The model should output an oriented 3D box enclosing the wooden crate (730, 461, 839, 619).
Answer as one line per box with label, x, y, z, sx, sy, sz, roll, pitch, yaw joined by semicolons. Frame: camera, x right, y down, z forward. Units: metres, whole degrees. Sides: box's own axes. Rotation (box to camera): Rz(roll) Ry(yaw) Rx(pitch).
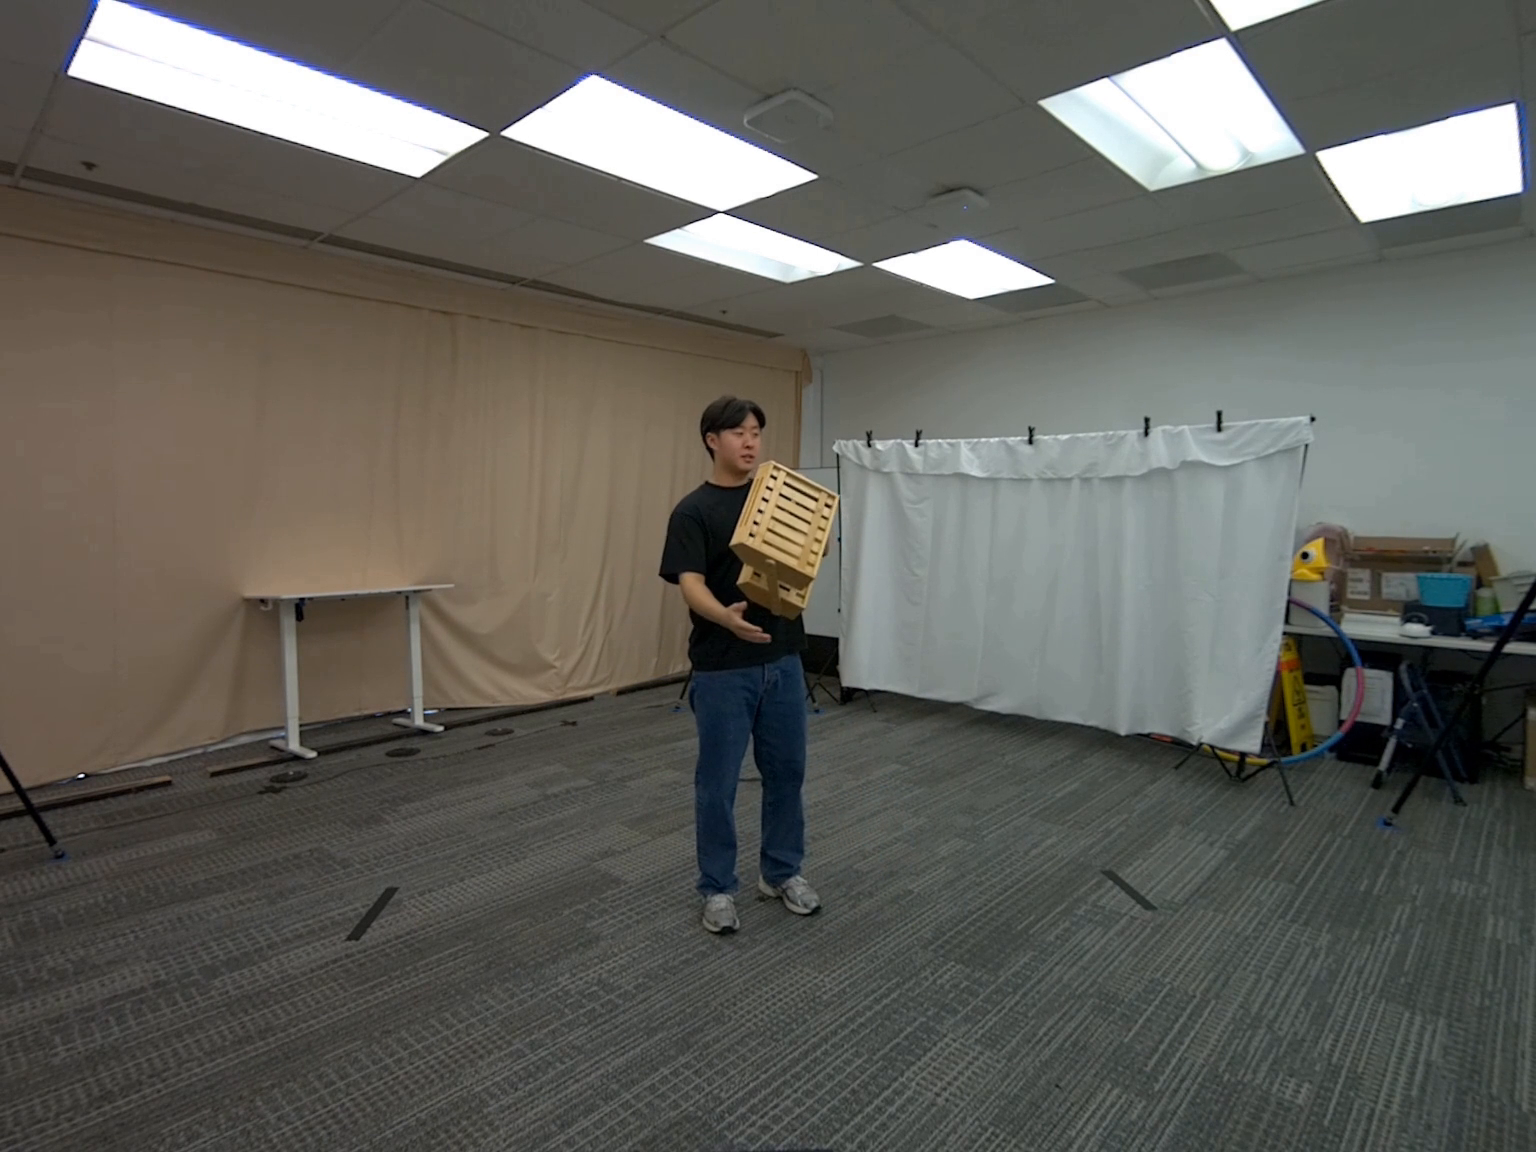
wooden crate;0.036;-0.103;2.500;0.299;0.326;0.275;27;-32;-9
